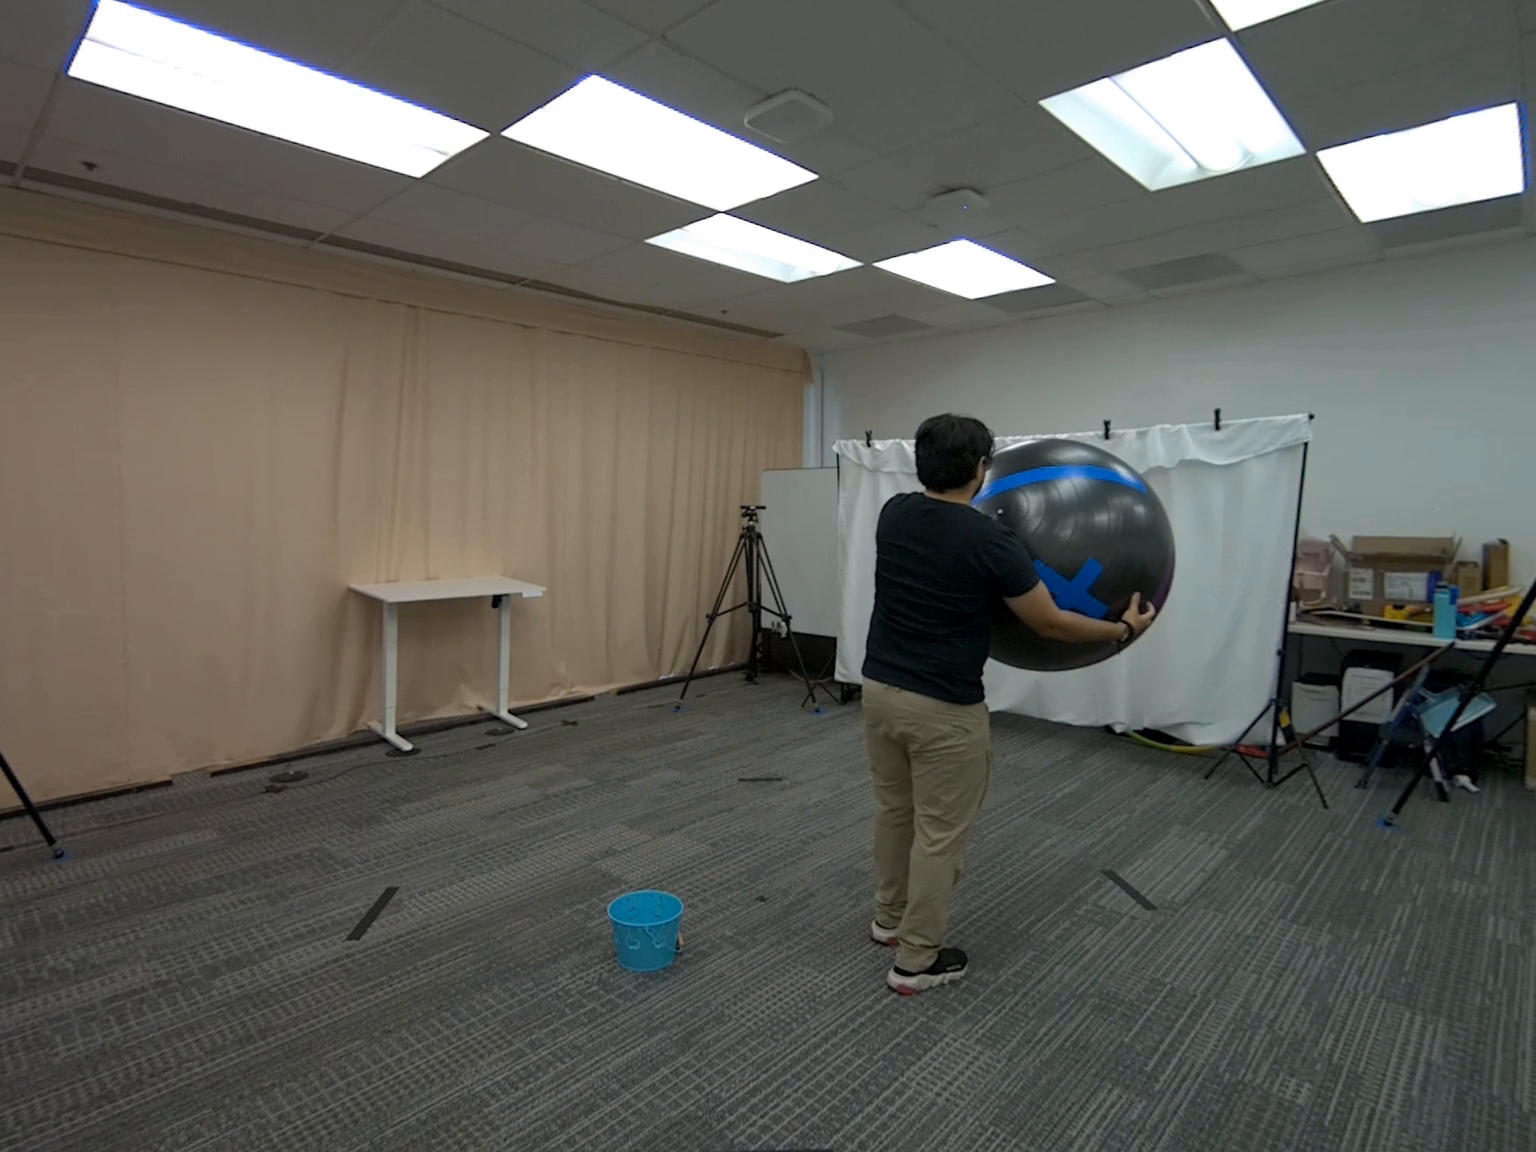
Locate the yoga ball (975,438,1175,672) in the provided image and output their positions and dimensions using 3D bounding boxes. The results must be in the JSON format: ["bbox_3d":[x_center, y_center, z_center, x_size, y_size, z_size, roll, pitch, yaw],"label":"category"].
[{"bbox_3d":[0.918,-0.058,2.762,0.757,0.756,0.760,0,4,-2],"label":"yoga ball"}]
